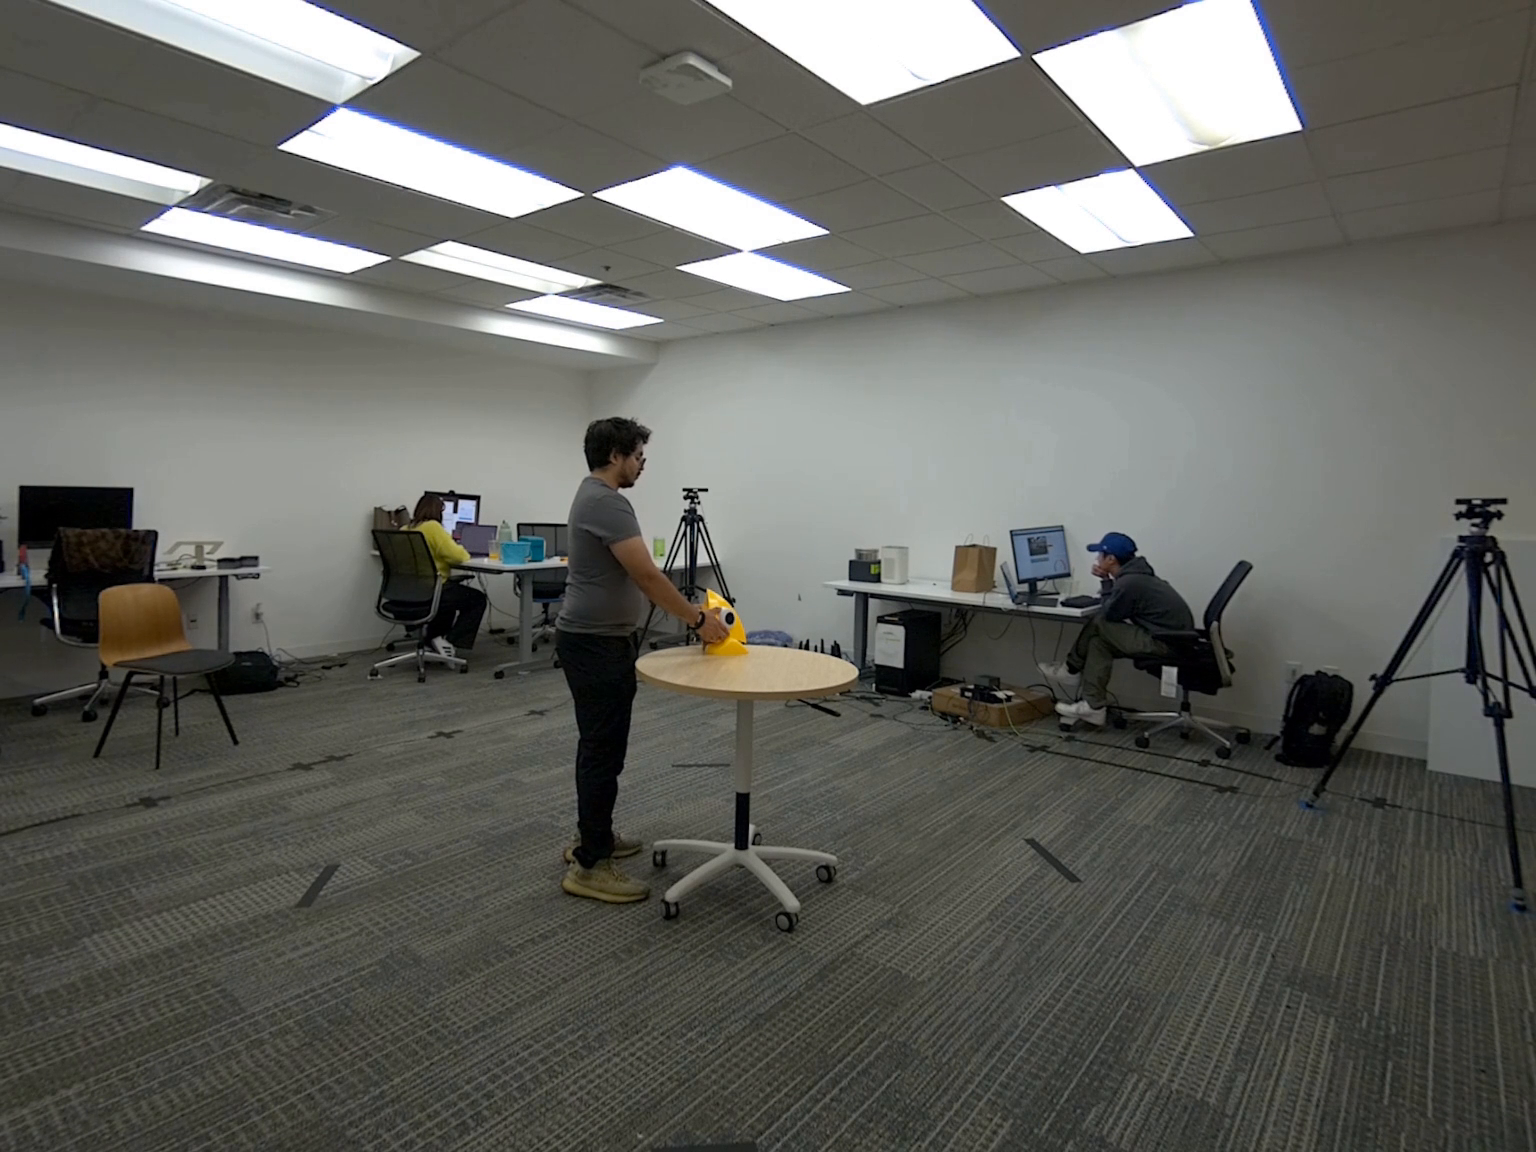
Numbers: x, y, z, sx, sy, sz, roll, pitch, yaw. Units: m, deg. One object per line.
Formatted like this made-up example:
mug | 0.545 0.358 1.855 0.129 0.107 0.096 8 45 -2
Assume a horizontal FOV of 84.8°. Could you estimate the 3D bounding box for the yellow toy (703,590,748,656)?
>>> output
yellow toy | -0.183 0.164 3.195 0.190 0.229 0.209 1 6 -15
